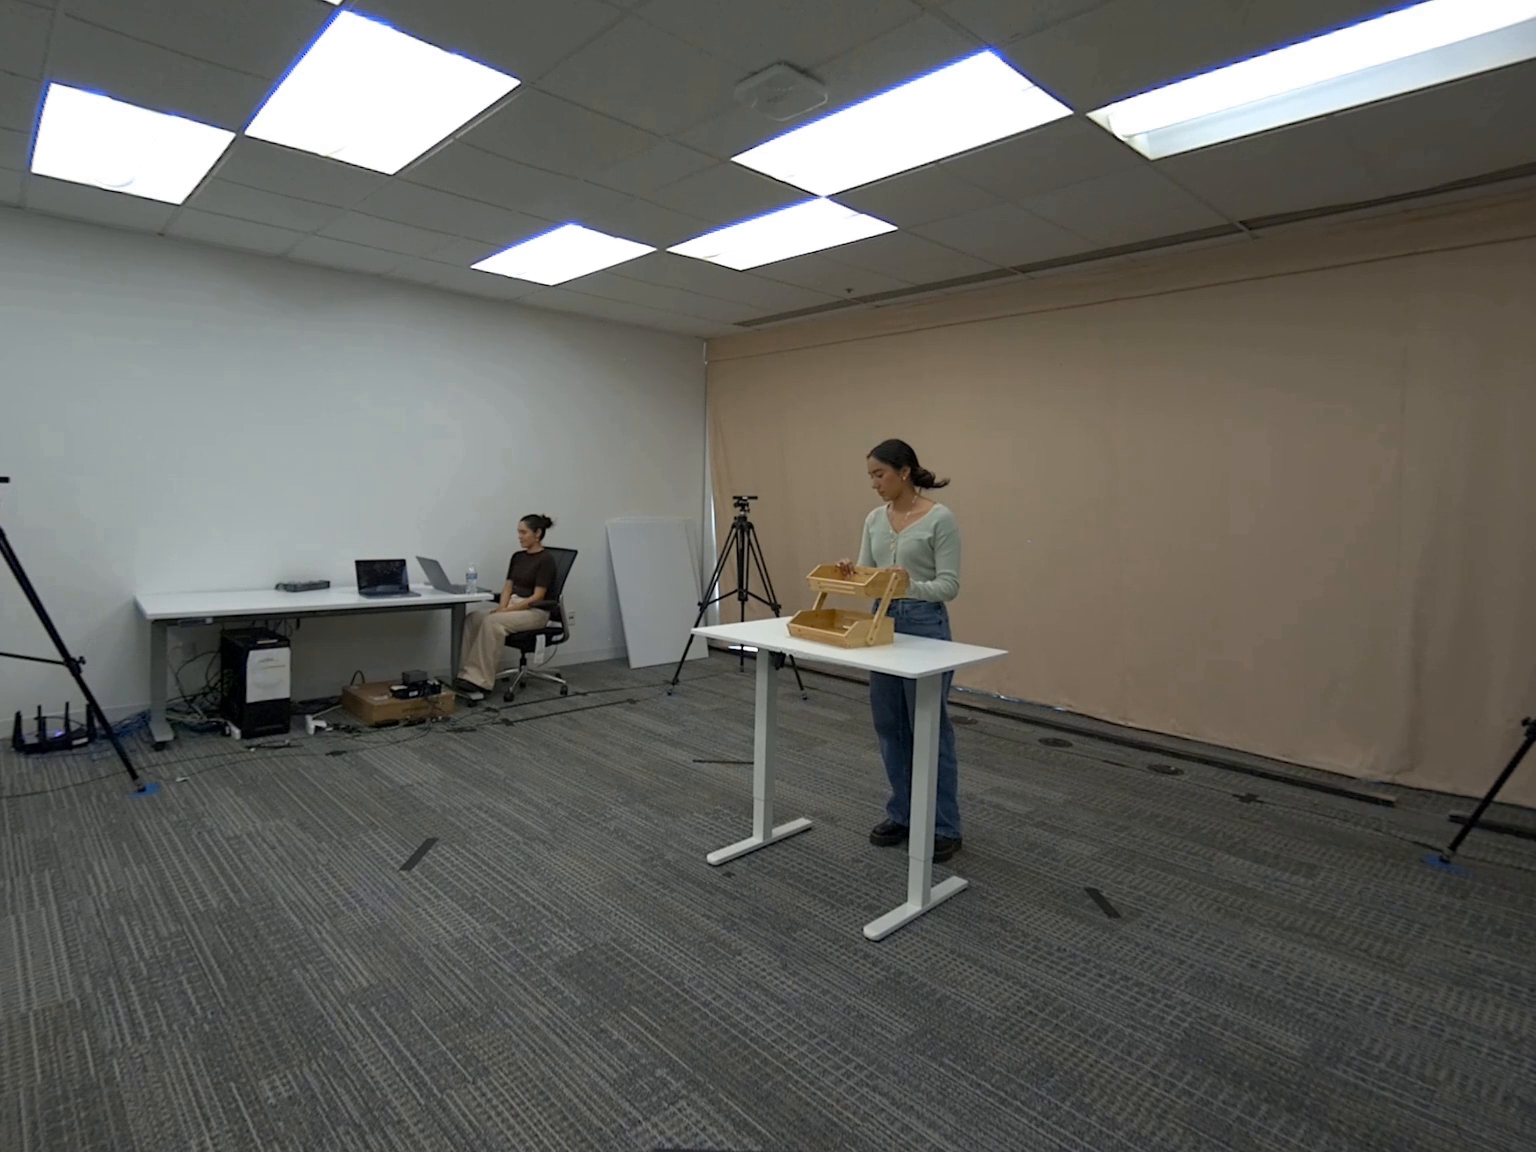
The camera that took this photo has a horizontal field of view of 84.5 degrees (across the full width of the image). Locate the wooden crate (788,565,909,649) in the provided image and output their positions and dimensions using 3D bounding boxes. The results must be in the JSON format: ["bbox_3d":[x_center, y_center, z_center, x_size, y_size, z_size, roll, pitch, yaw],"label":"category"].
[{"bbox_3d":[0.280,0.102,3.077,0.295,0.272,0.333,-1,5,-39],"label":"wooden crate"}]
